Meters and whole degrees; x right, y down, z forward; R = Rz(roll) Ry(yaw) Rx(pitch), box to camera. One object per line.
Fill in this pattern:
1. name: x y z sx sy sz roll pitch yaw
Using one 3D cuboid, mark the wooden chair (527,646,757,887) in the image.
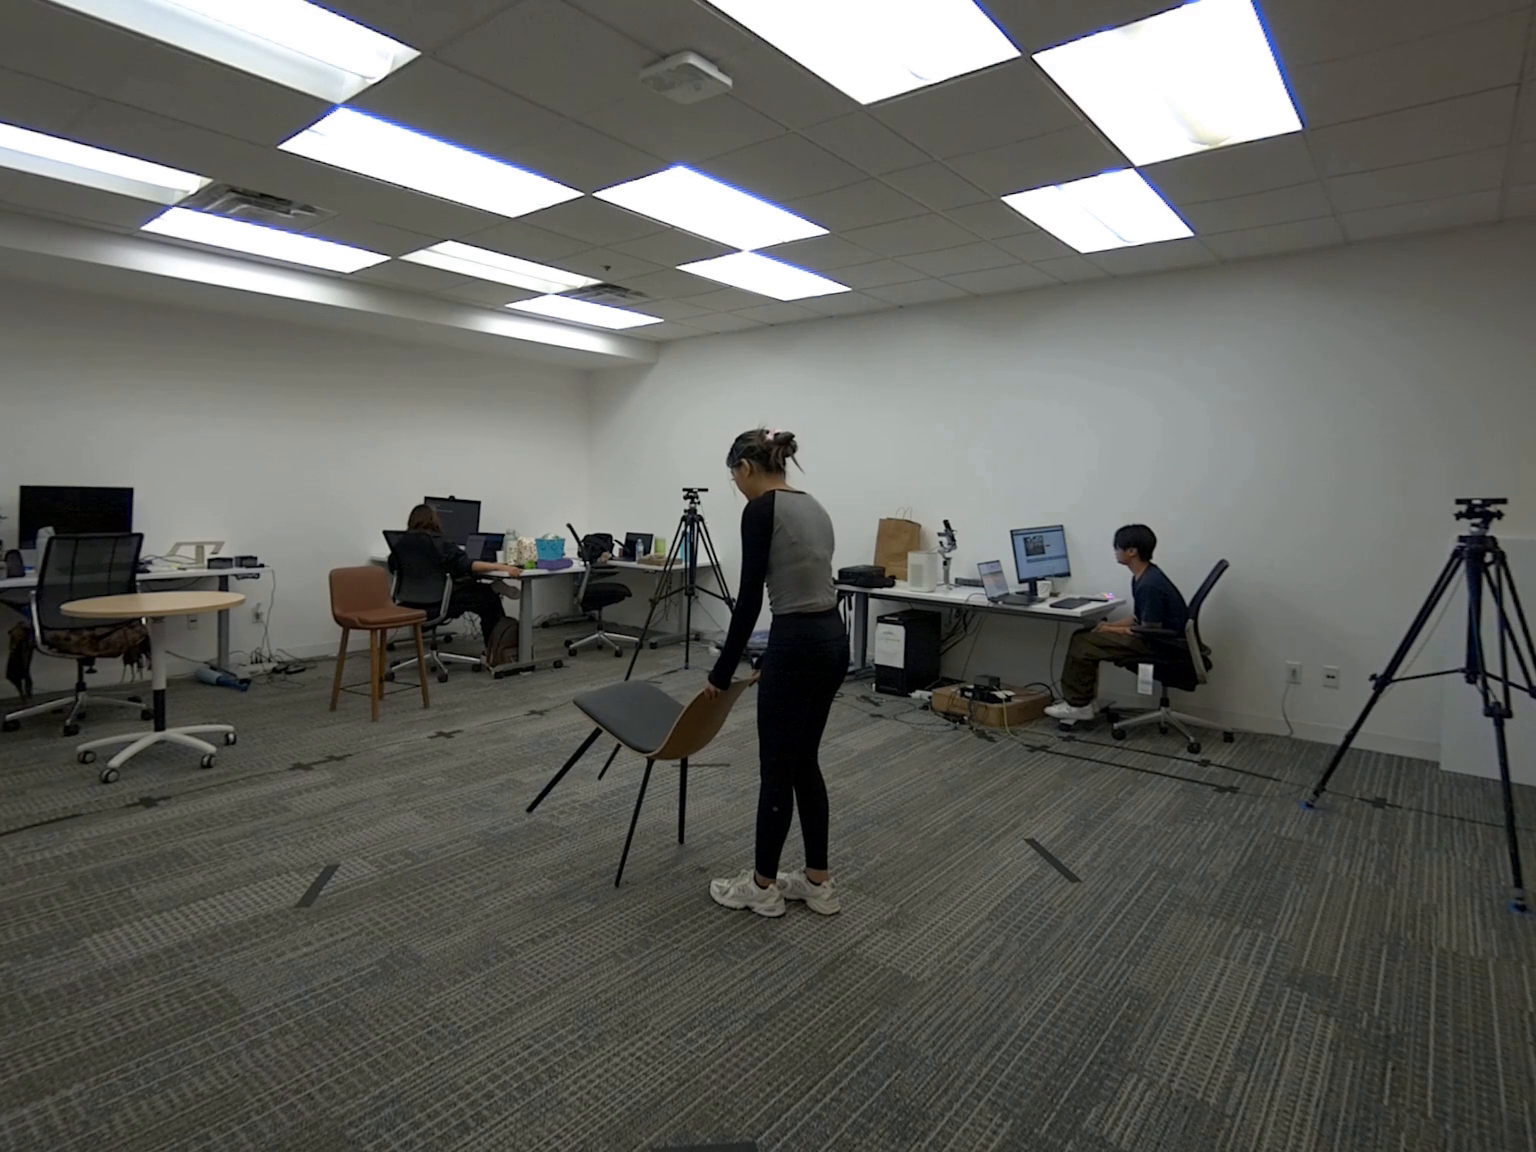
1. wooden chair: -0.463 0.580 3.134 0.539 0.872 0.466 35 17 22
